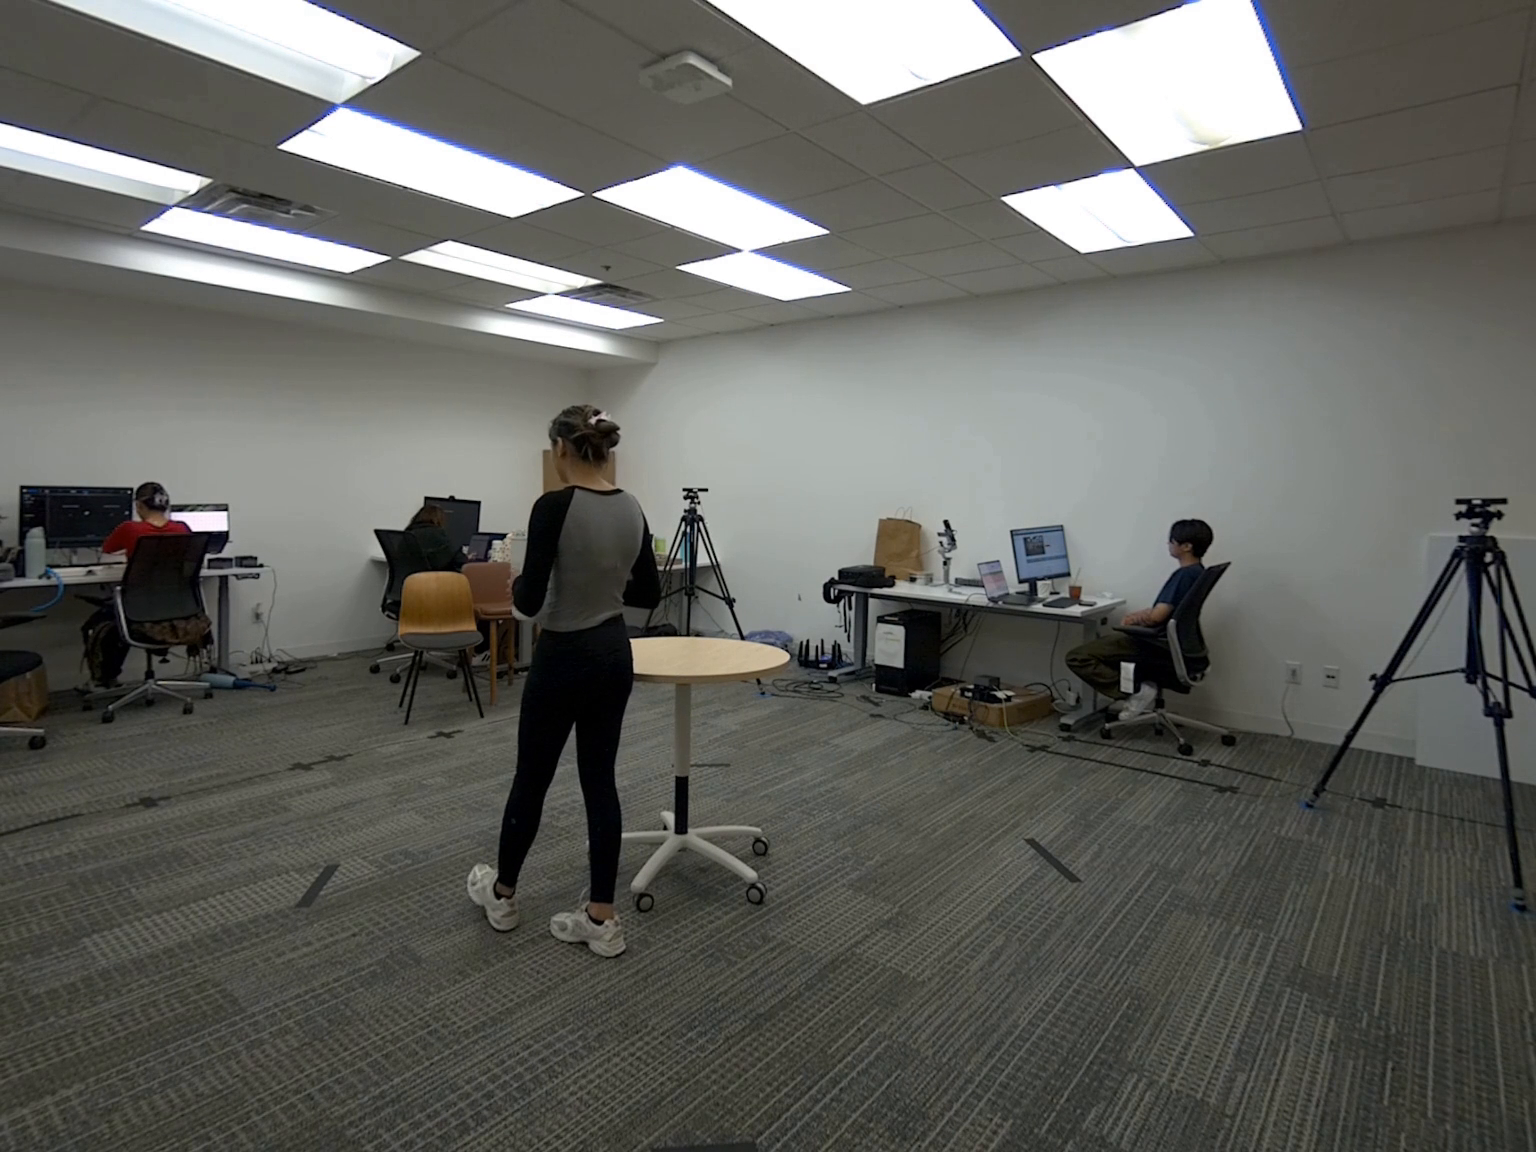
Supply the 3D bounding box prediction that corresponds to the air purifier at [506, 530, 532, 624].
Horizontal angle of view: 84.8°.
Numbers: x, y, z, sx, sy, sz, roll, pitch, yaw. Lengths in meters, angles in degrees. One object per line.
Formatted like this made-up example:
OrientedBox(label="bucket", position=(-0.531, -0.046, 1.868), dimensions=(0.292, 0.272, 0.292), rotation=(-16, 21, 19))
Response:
OrientedBox(label="air purifier", position=(-0.729, 0.007, 2.732), dimensions=(0.166, 0.265, 0.177), rotation=(-3, 4, -37))
